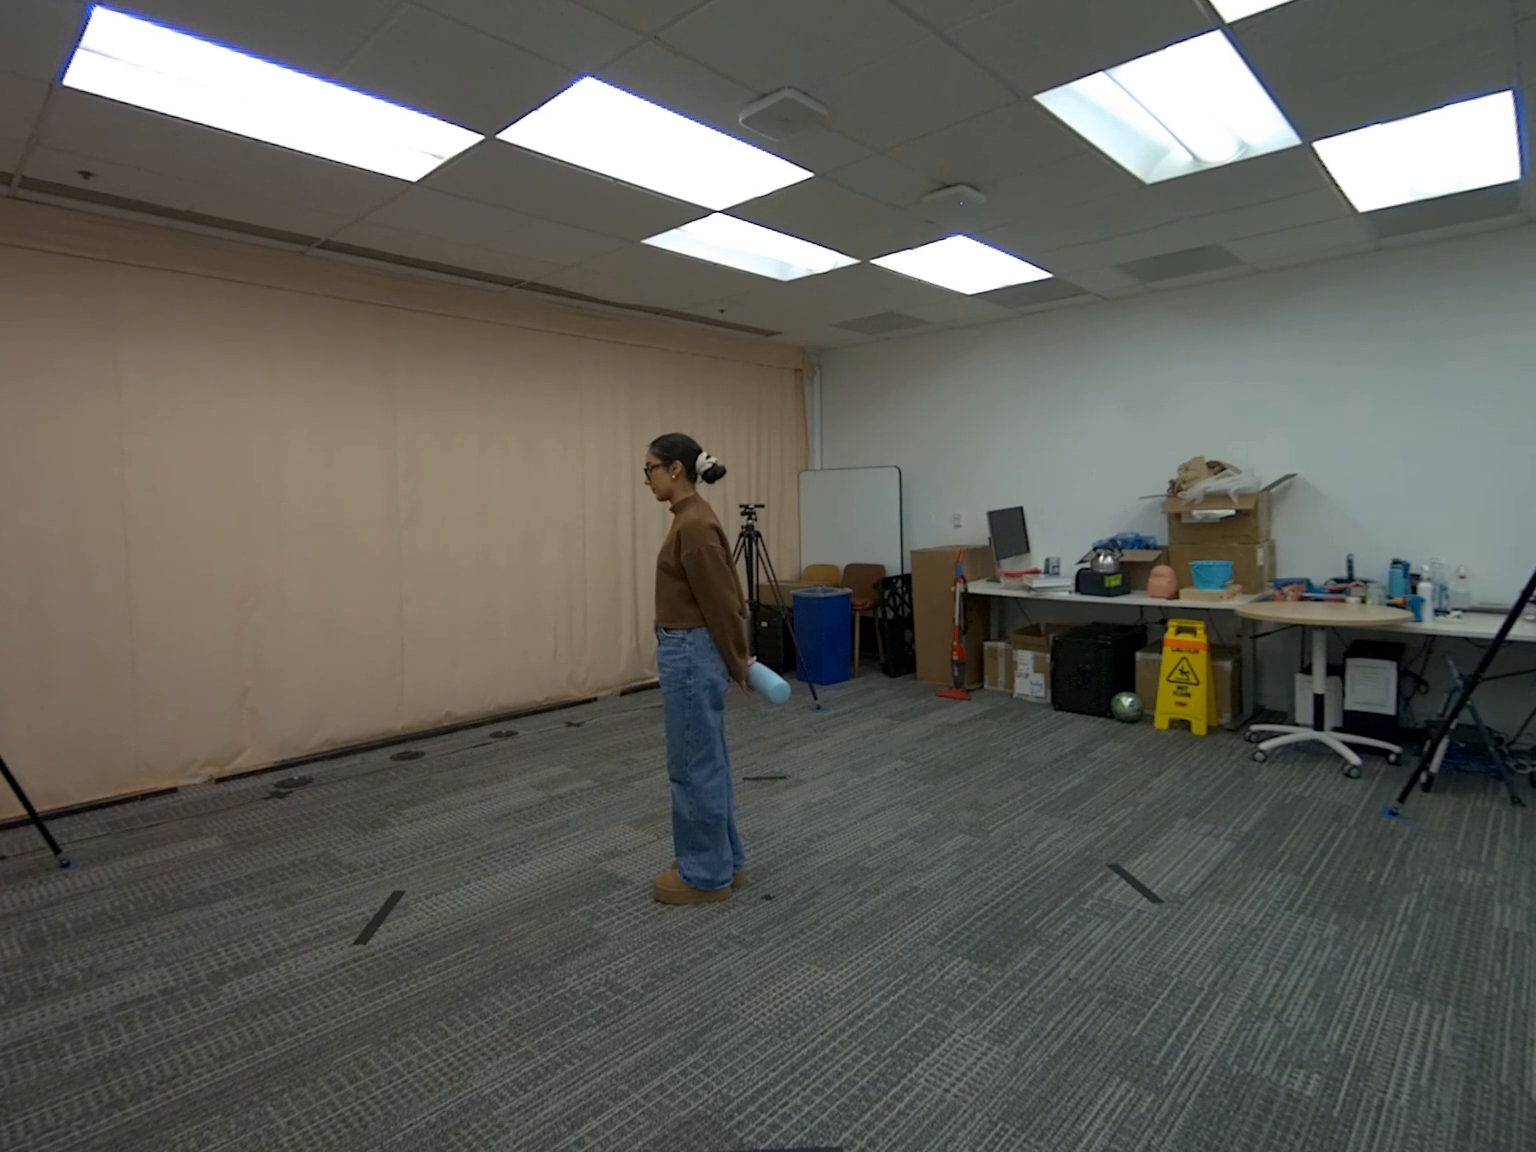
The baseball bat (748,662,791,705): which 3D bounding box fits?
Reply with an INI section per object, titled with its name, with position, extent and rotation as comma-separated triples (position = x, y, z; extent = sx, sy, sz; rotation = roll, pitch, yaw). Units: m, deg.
[baseball bat]
position = -0.059, 0.347, 3.091
extent = 0.087, 0.088, 0.557
rotation = -2, 15, -20
